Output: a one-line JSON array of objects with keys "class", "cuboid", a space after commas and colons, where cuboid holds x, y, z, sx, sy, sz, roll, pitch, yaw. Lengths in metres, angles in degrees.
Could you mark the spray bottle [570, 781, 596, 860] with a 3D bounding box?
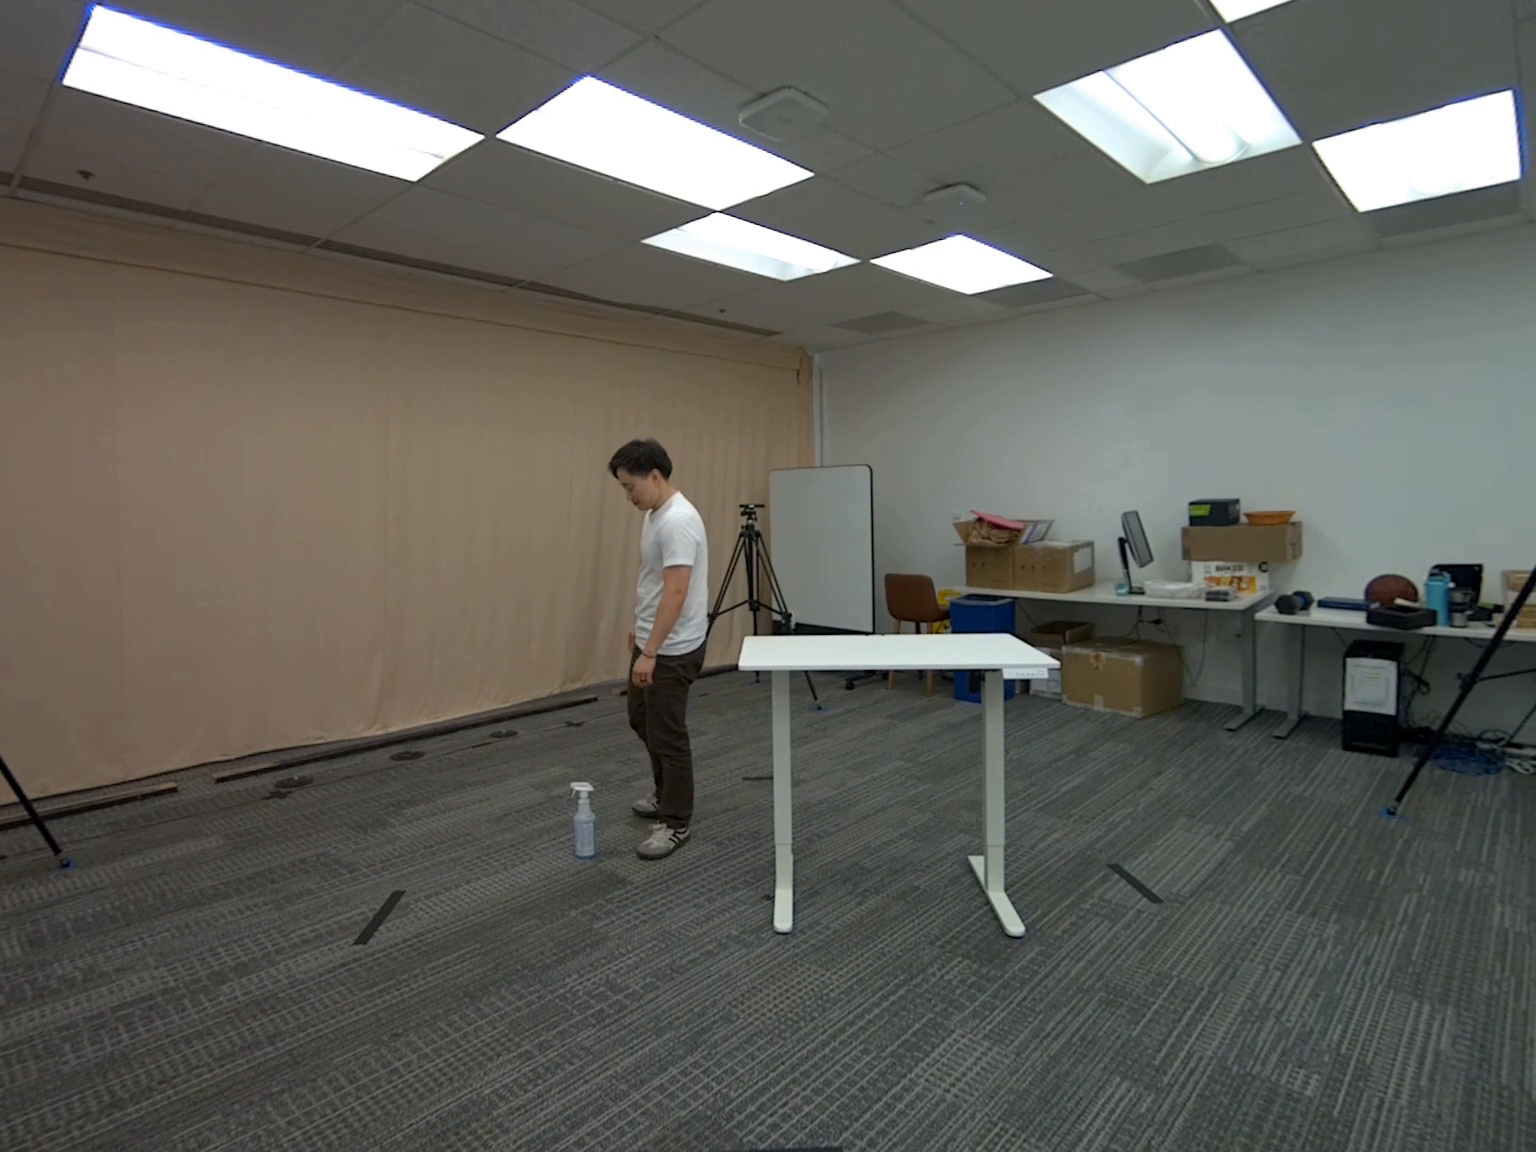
[{"class": "spray bottle", "cuboid": [-0.739, 0.980, 3.381, 0.092, 0.296, 0.085, 0, 4, 20]}]
